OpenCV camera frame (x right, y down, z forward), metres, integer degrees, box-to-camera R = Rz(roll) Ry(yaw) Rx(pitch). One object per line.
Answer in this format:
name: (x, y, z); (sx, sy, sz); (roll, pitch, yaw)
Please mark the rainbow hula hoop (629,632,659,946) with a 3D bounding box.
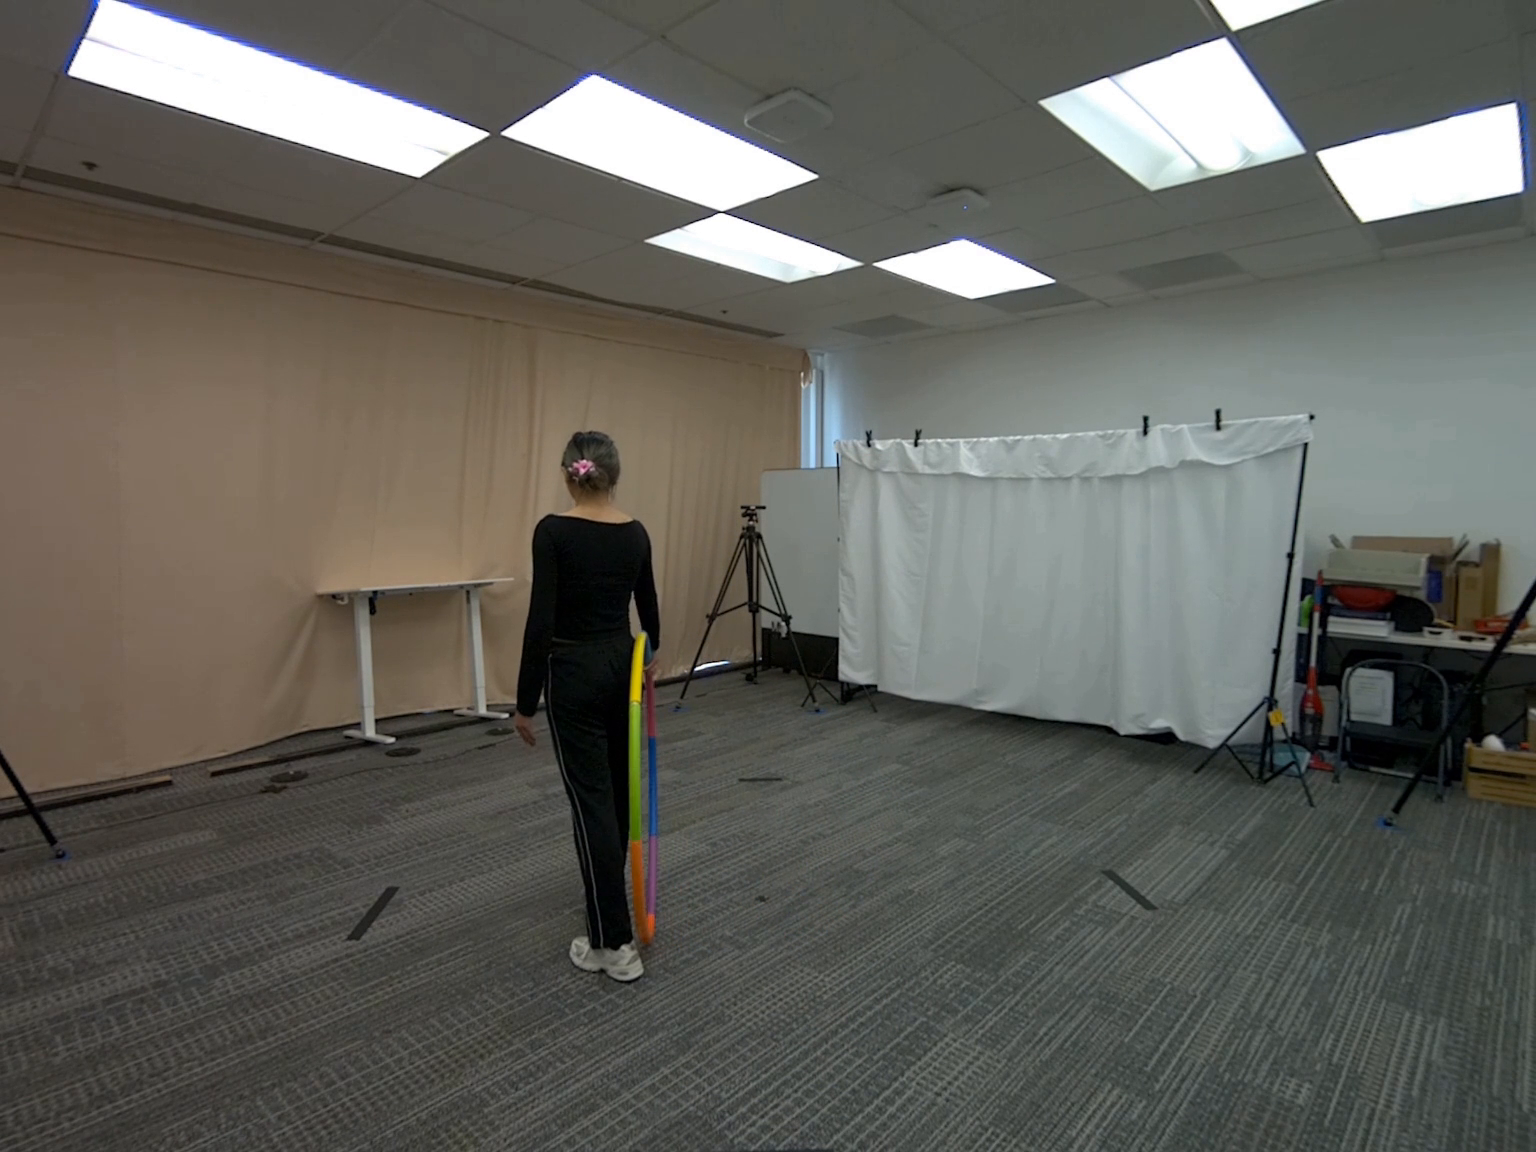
rainbow hula hoop: (-0.402, 0.676, 2.779); (0.035, 0.976, 0.985); (0, 4, -6)
